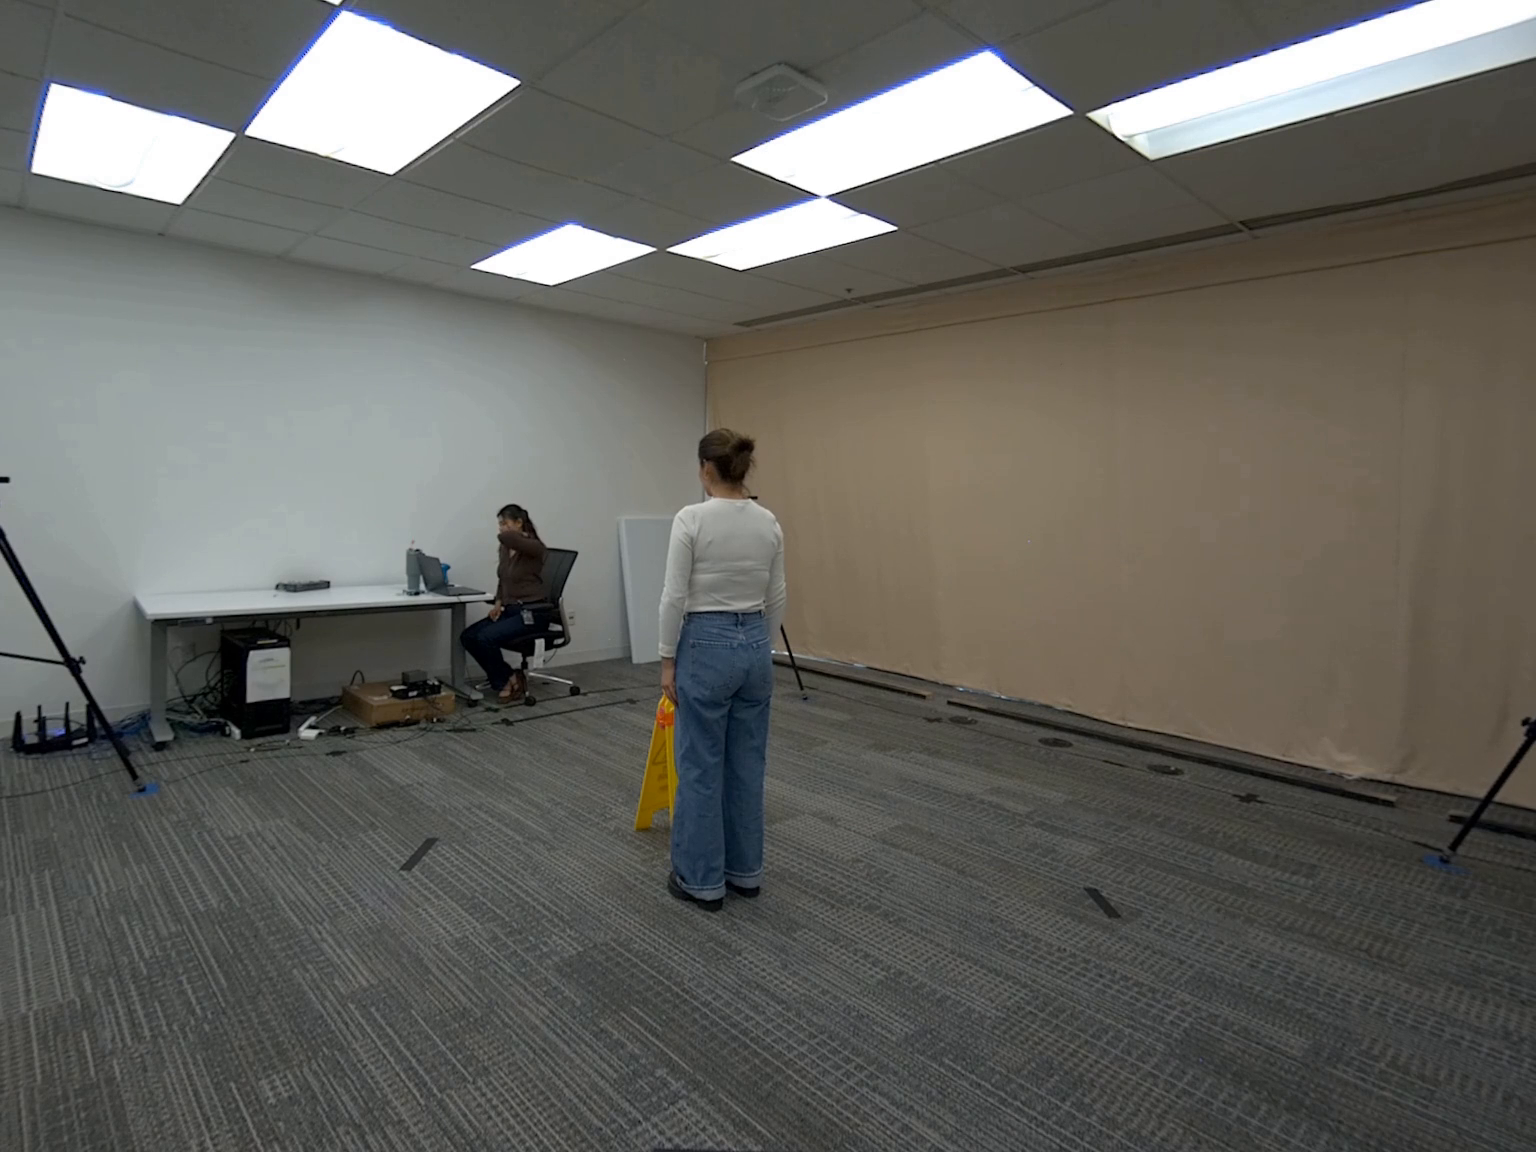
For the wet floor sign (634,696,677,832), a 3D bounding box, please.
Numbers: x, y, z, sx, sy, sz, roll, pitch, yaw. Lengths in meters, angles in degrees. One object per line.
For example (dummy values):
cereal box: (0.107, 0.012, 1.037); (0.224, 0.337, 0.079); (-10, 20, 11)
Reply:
wet floor sign: (-0.351, 0.745, 3.457); (0.276, 0.644, 0.297); (-1, 5, -42)
